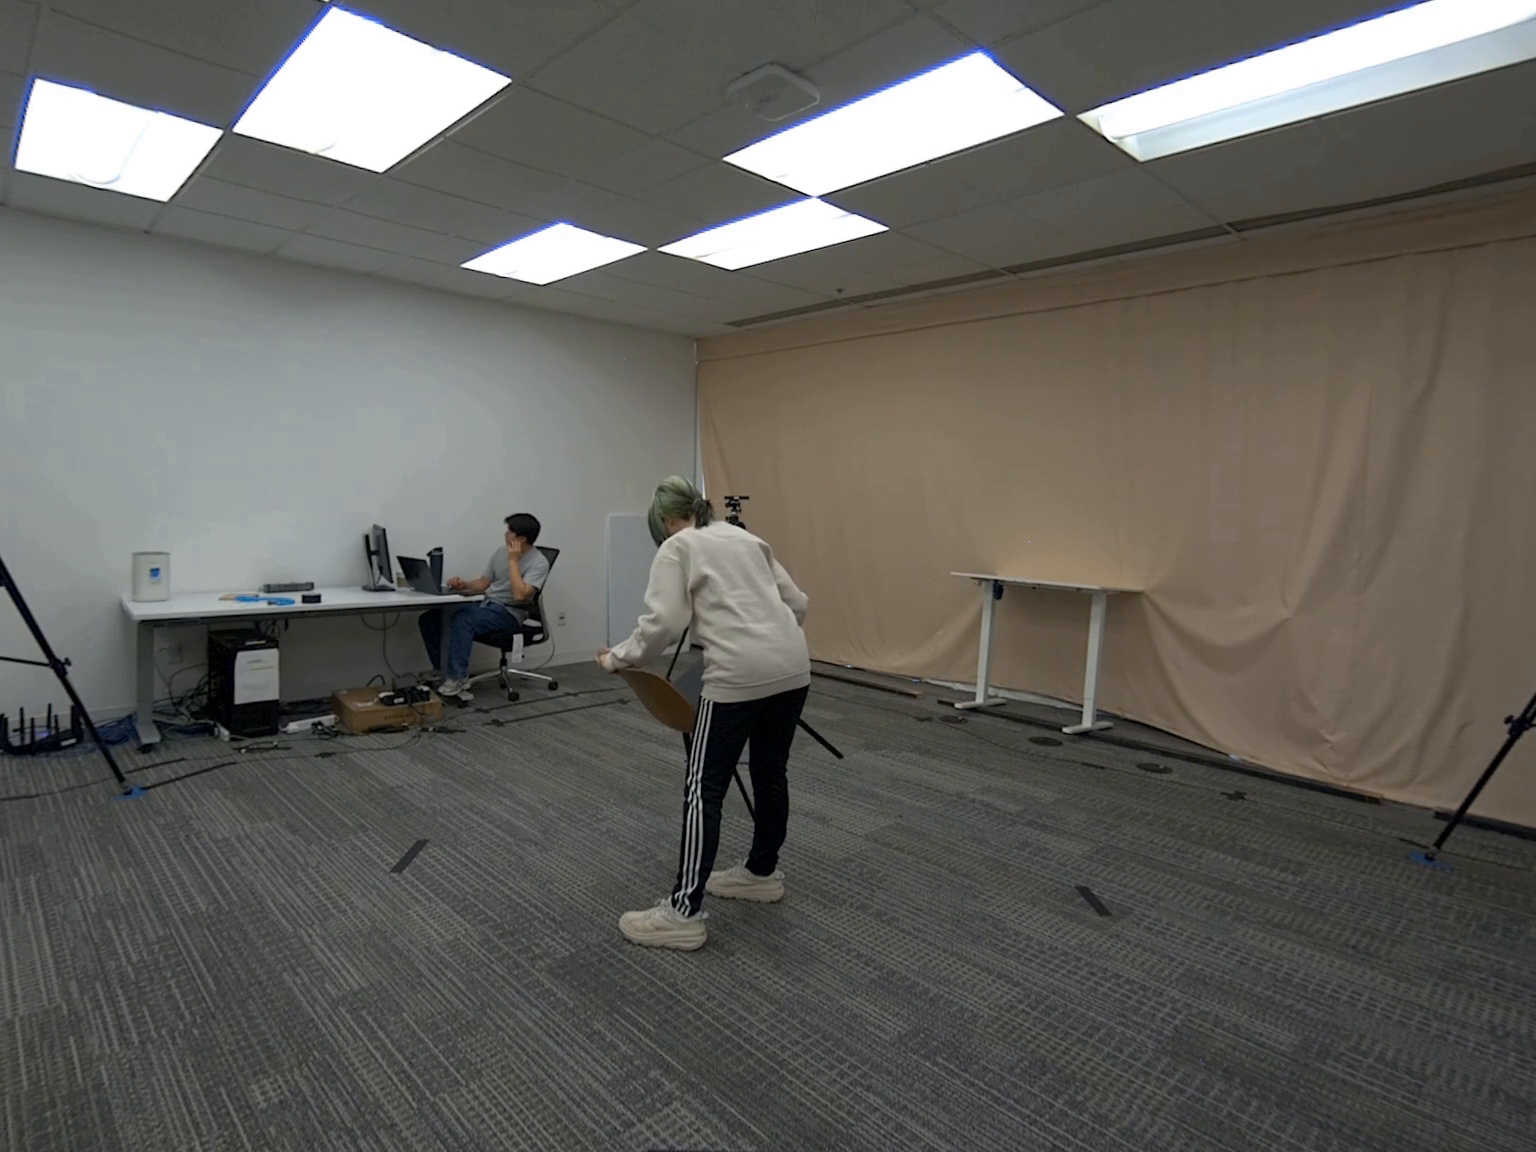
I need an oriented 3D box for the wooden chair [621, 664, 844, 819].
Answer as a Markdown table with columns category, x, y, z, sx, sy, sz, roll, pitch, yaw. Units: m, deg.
| category | x | y | z | sx | sy | sz | roll | pitch | yaw |
| --- | --- | --- | --- | --- | --- | --- | --- | --- | --- |
| wooden chair | -0.185 | 0.468 | 3.136 | 0.523 | 0.857 | 0.490 | -46 | 27 | -25 |
